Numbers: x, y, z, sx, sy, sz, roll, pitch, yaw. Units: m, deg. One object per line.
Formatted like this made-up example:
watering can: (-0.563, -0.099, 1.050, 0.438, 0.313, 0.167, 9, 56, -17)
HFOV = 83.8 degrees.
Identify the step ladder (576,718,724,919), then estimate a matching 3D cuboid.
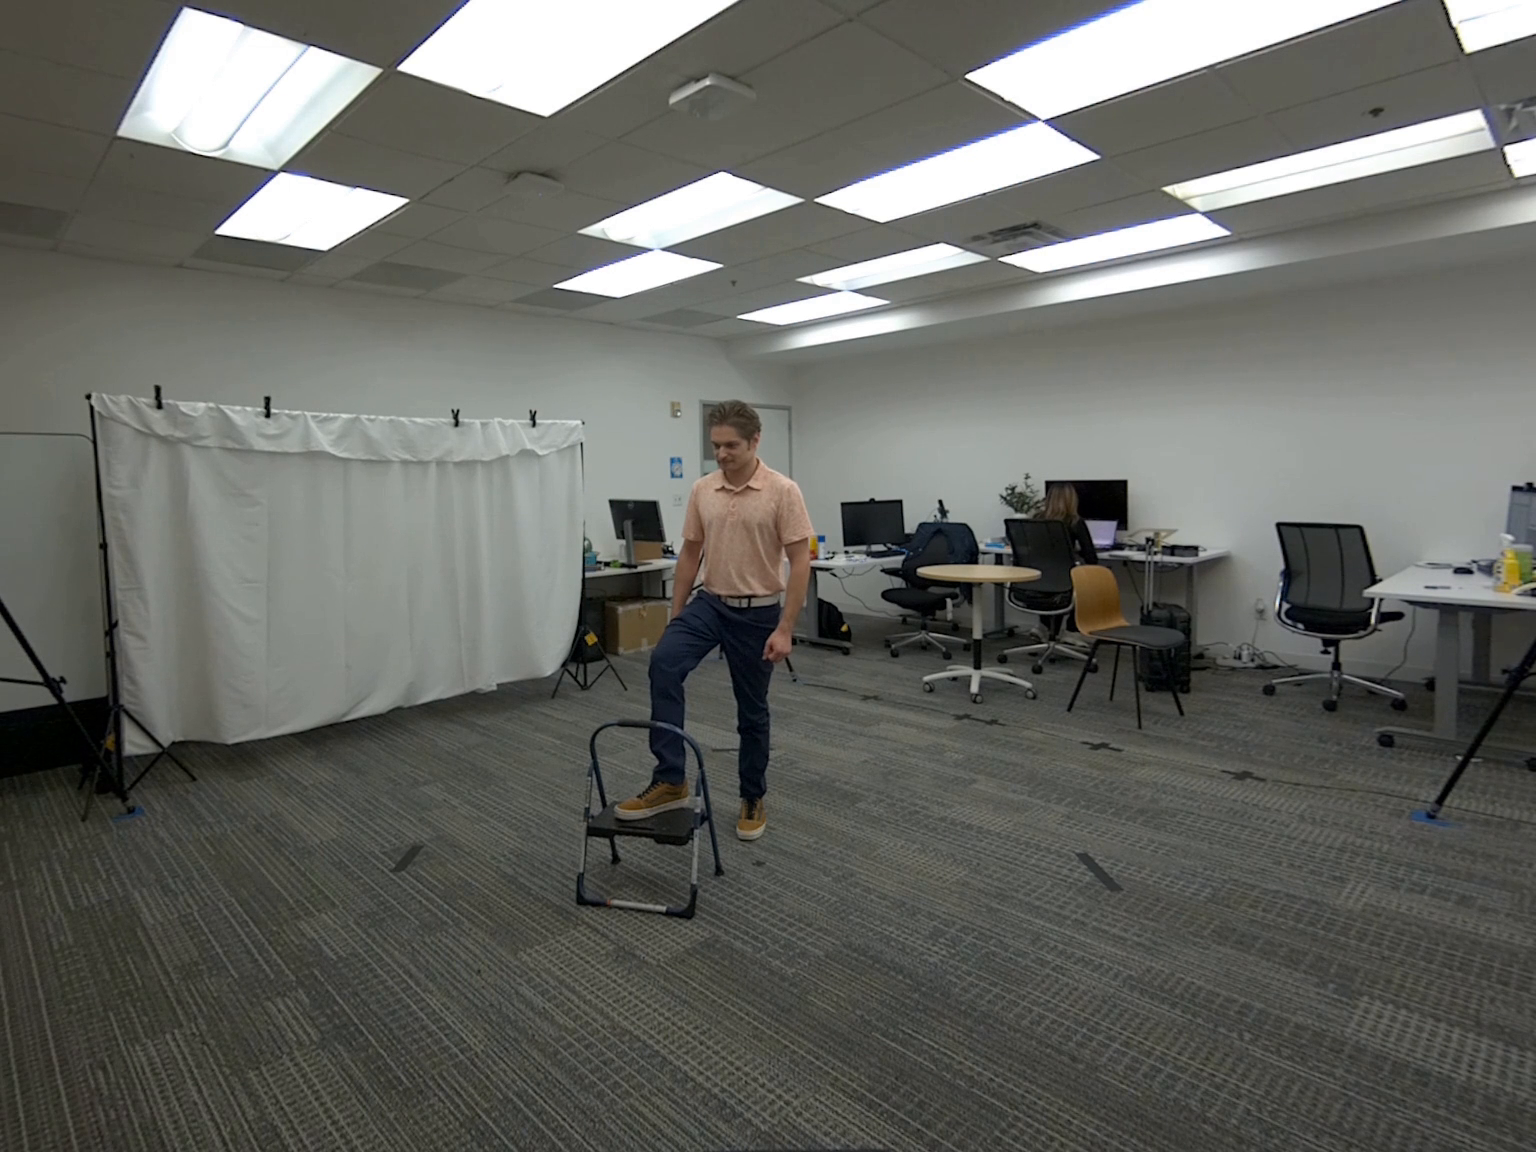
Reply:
step ladder: (-0.406, 0.774, 2.918, 0.437, 0.603, 0.345, 1, 5, 15)
